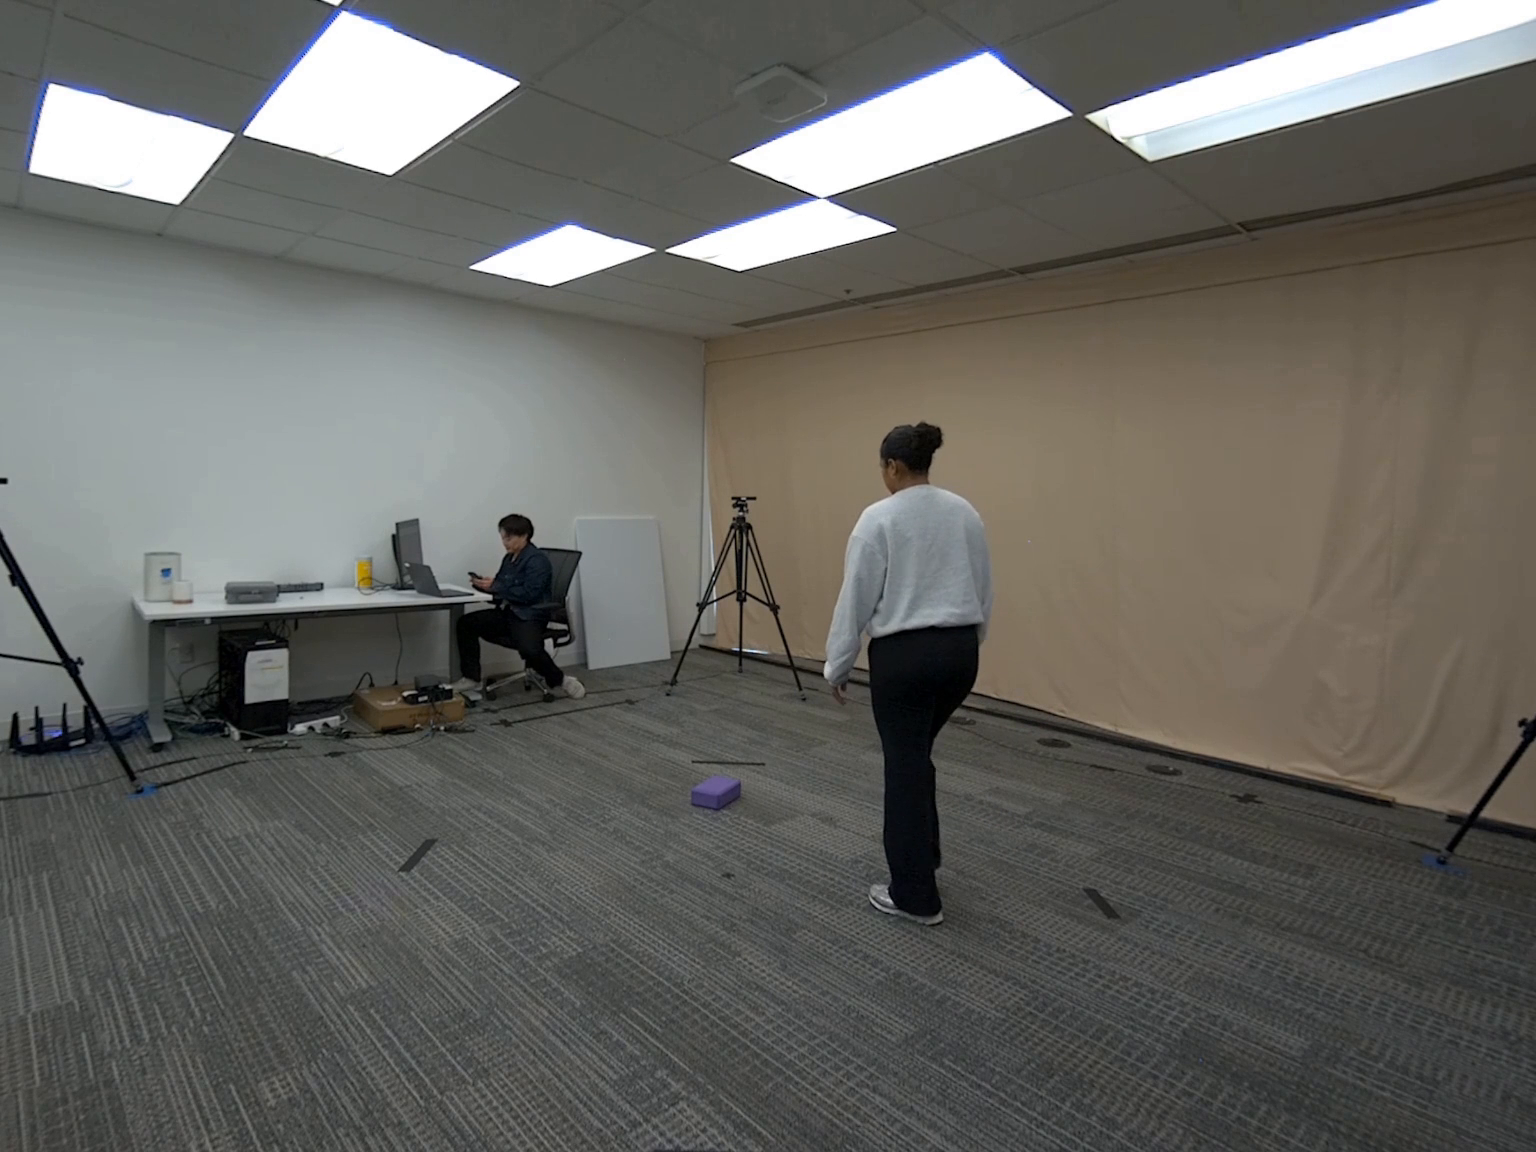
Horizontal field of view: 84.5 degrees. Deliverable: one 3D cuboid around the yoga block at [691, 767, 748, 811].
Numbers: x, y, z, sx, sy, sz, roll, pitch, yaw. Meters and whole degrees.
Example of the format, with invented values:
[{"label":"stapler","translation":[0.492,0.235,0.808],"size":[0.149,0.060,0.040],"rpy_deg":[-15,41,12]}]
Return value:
[{"label":"yoga block","translation":[-0.251,0.998,3.885],"size":[0.152,0.076,0.225],"rpy_deg":[4,6,26]}]
